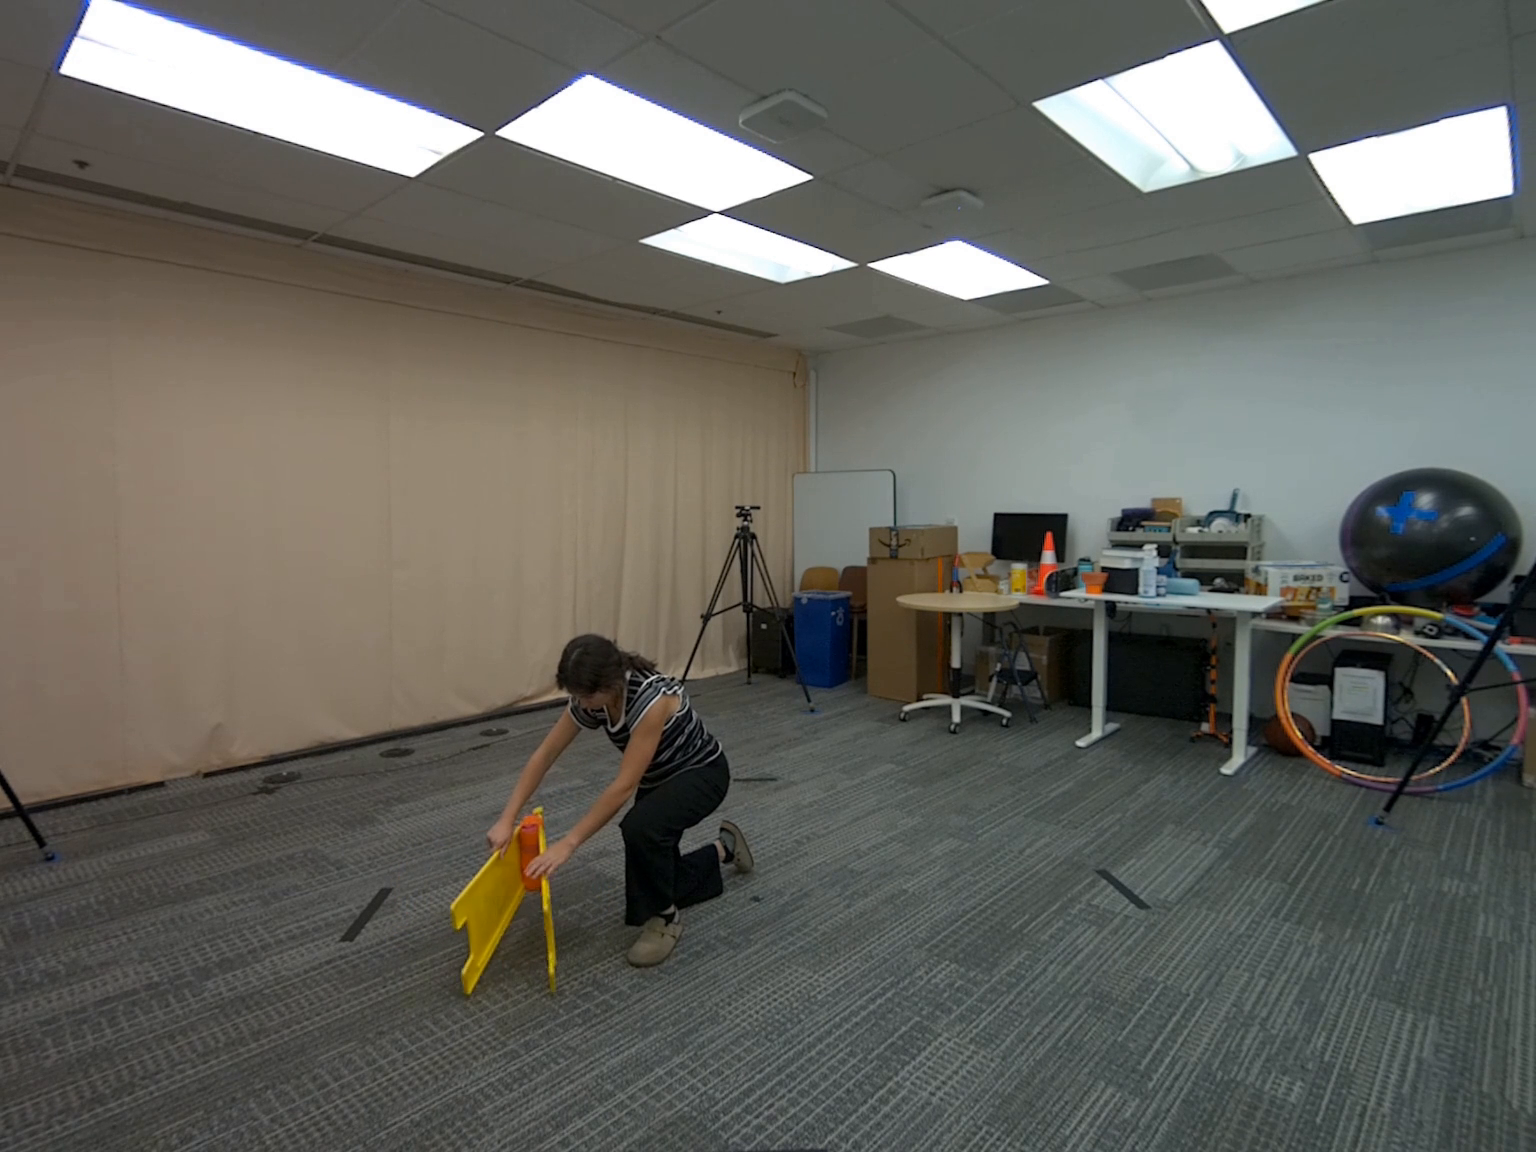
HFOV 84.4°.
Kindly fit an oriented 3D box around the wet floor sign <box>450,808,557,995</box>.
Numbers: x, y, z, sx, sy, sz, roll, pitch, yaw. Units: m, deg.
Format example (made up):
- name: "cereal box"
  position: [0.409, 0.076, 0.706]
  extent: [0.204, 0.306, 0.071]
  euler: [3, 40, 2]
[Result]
- name: "wet floor sign"
  position: [-0.770, 0.986, 2.671]
  extent: [0.288, 0.280, 0.653]
  euler: [-1, 13, -5]
